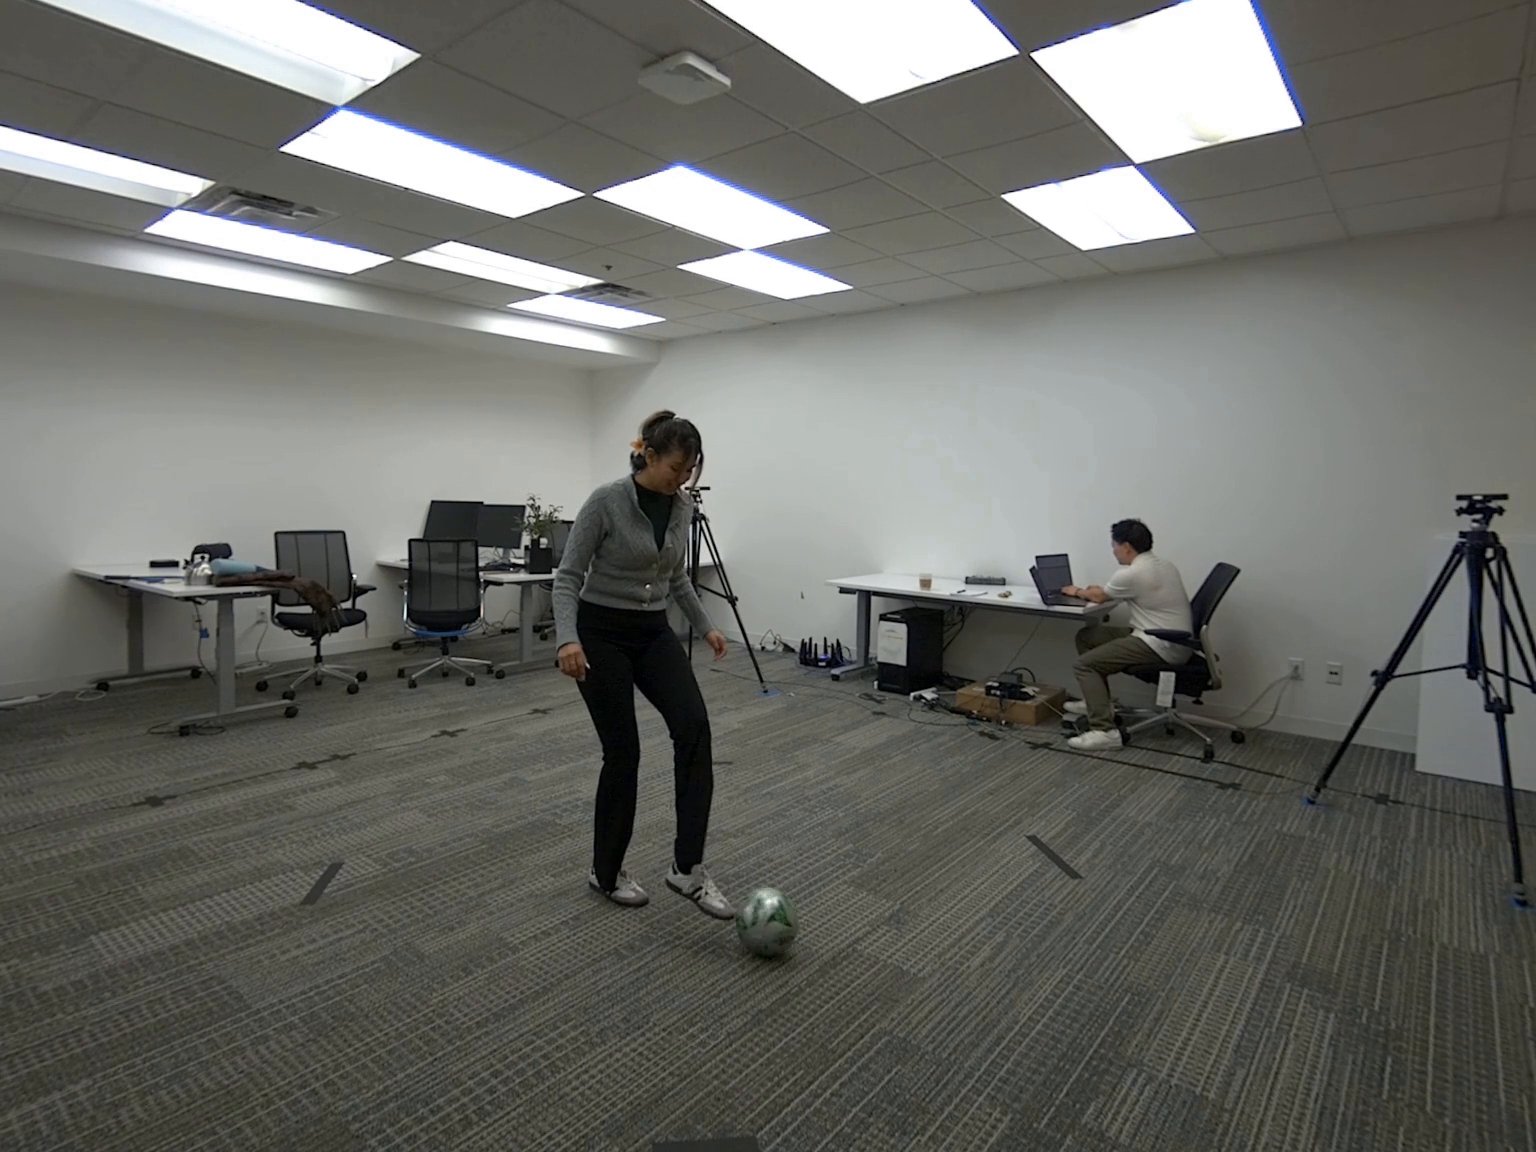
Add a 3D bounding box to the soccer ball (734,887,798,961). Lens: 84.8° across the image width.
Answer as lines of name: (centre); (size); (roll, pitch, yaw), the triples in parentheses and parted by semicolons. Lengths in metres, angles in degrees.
soccer ball: (-0.018, 1.032, 2.553); (0.187, 0.187, 0.188); (1, 4, -2)
